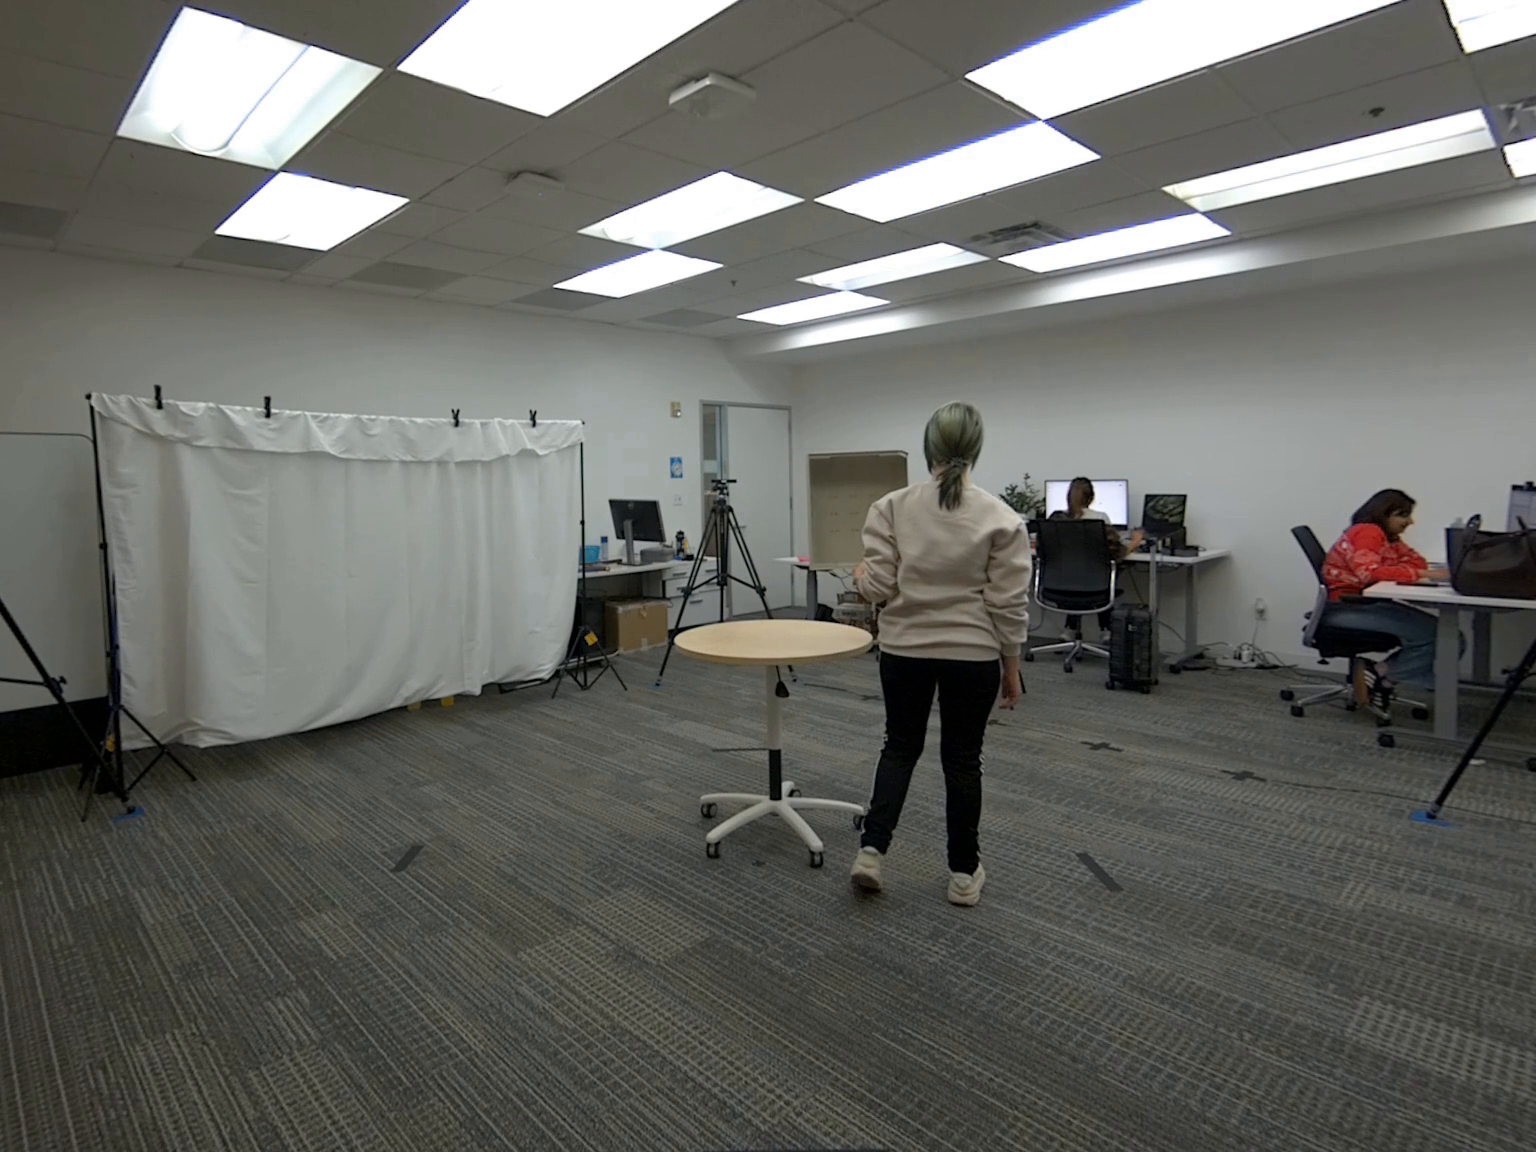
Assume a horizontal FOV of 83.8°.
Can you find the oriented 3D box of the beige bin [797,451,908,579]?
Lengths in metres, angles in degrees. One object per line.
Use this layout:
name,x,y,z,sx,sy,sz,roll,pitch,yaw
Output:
beige bin,0.332,-0.242,3.138,0.379,0.422,0.188,-1,0,4
